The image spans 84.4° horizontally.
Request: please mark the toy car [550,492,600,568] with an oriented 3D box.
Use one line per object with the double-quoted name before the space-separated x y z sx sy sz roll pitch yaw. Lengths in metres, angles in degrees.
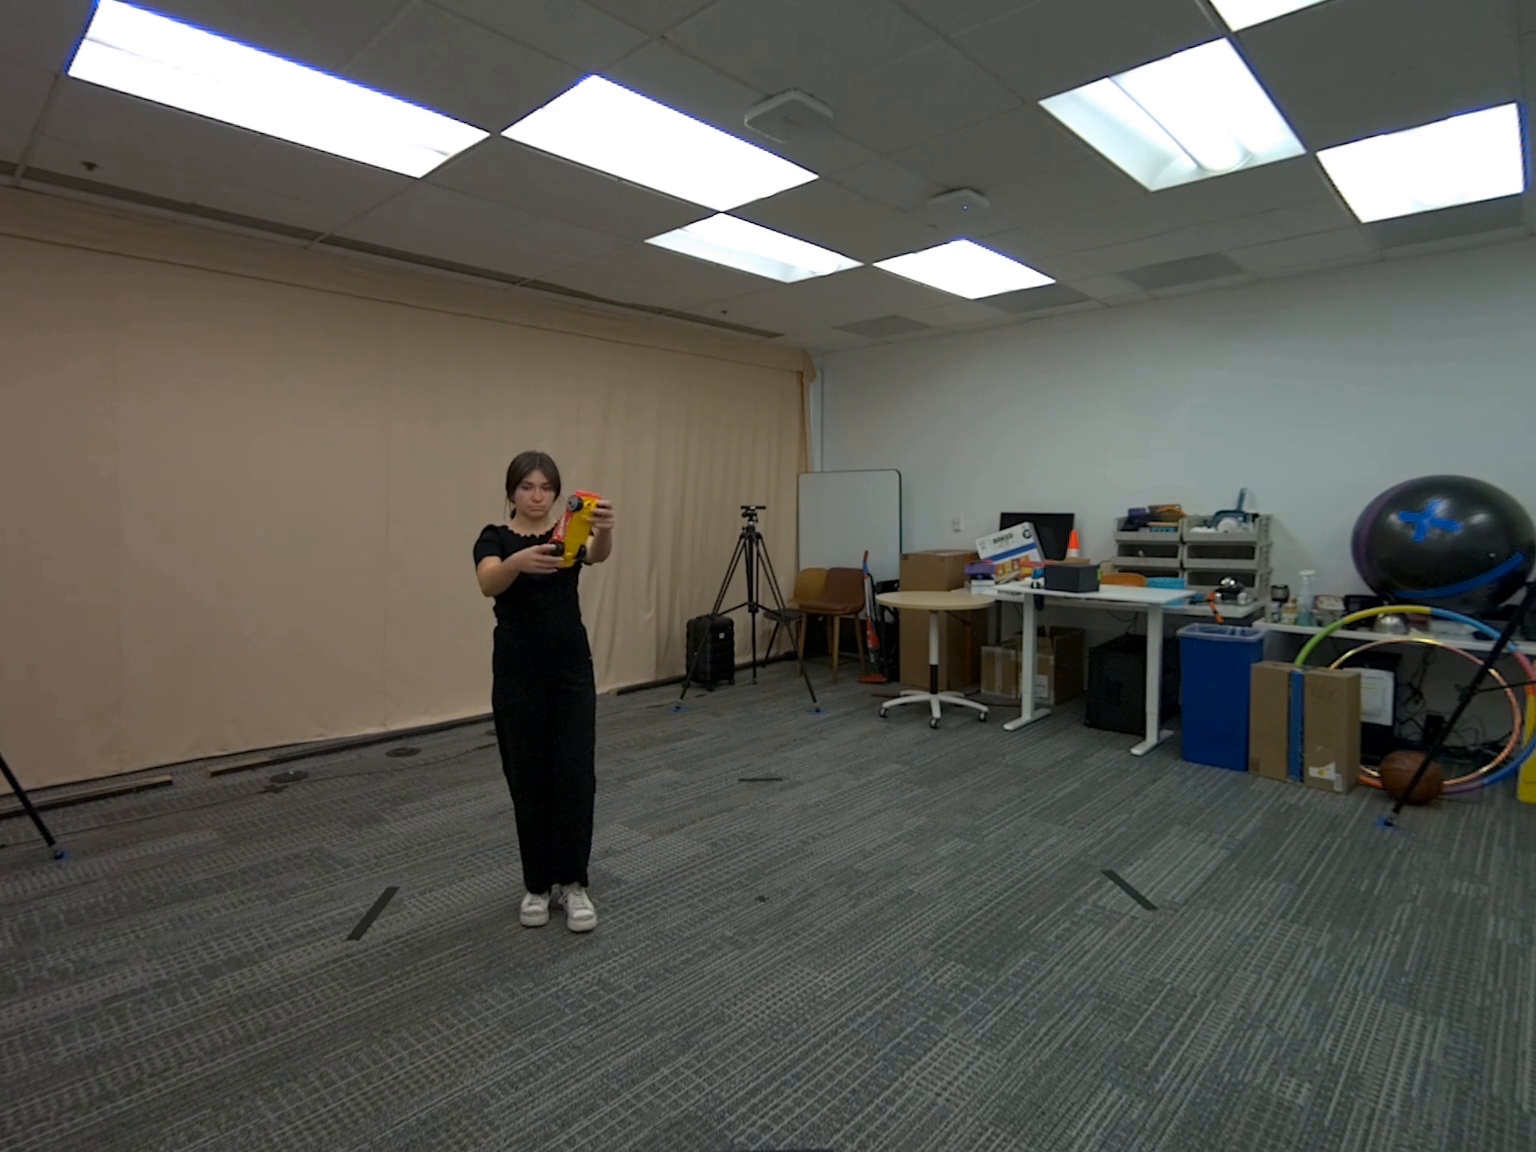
"toy car" -0.573 -0.123 2.437 0.126 0.255 0.086 7 35 -54
